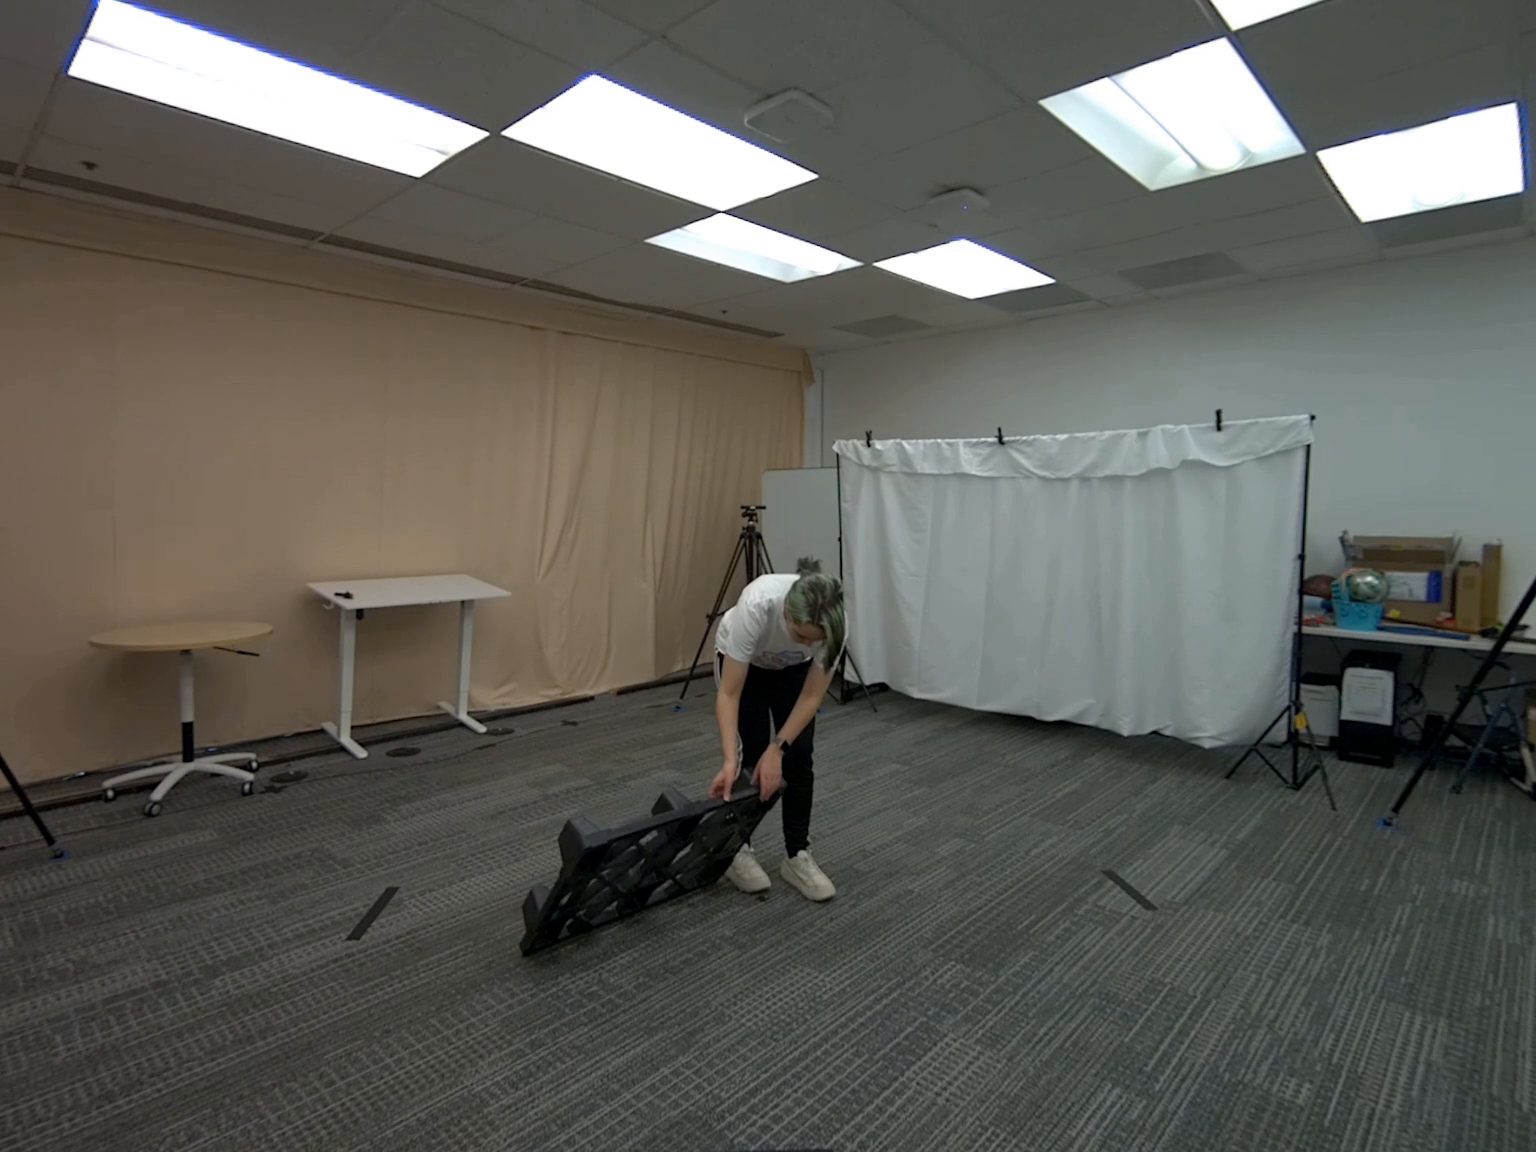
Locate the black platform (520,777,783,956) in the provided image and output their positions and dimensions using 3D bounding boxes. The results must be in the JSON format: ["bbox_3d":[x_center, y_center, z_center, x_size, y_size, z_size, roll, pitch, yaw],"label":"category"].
[{"bbox_3d":[-0.379,0.901,2.736,0.781,0.605,0.148,-4,45,-42],"label":"black platform"}]
